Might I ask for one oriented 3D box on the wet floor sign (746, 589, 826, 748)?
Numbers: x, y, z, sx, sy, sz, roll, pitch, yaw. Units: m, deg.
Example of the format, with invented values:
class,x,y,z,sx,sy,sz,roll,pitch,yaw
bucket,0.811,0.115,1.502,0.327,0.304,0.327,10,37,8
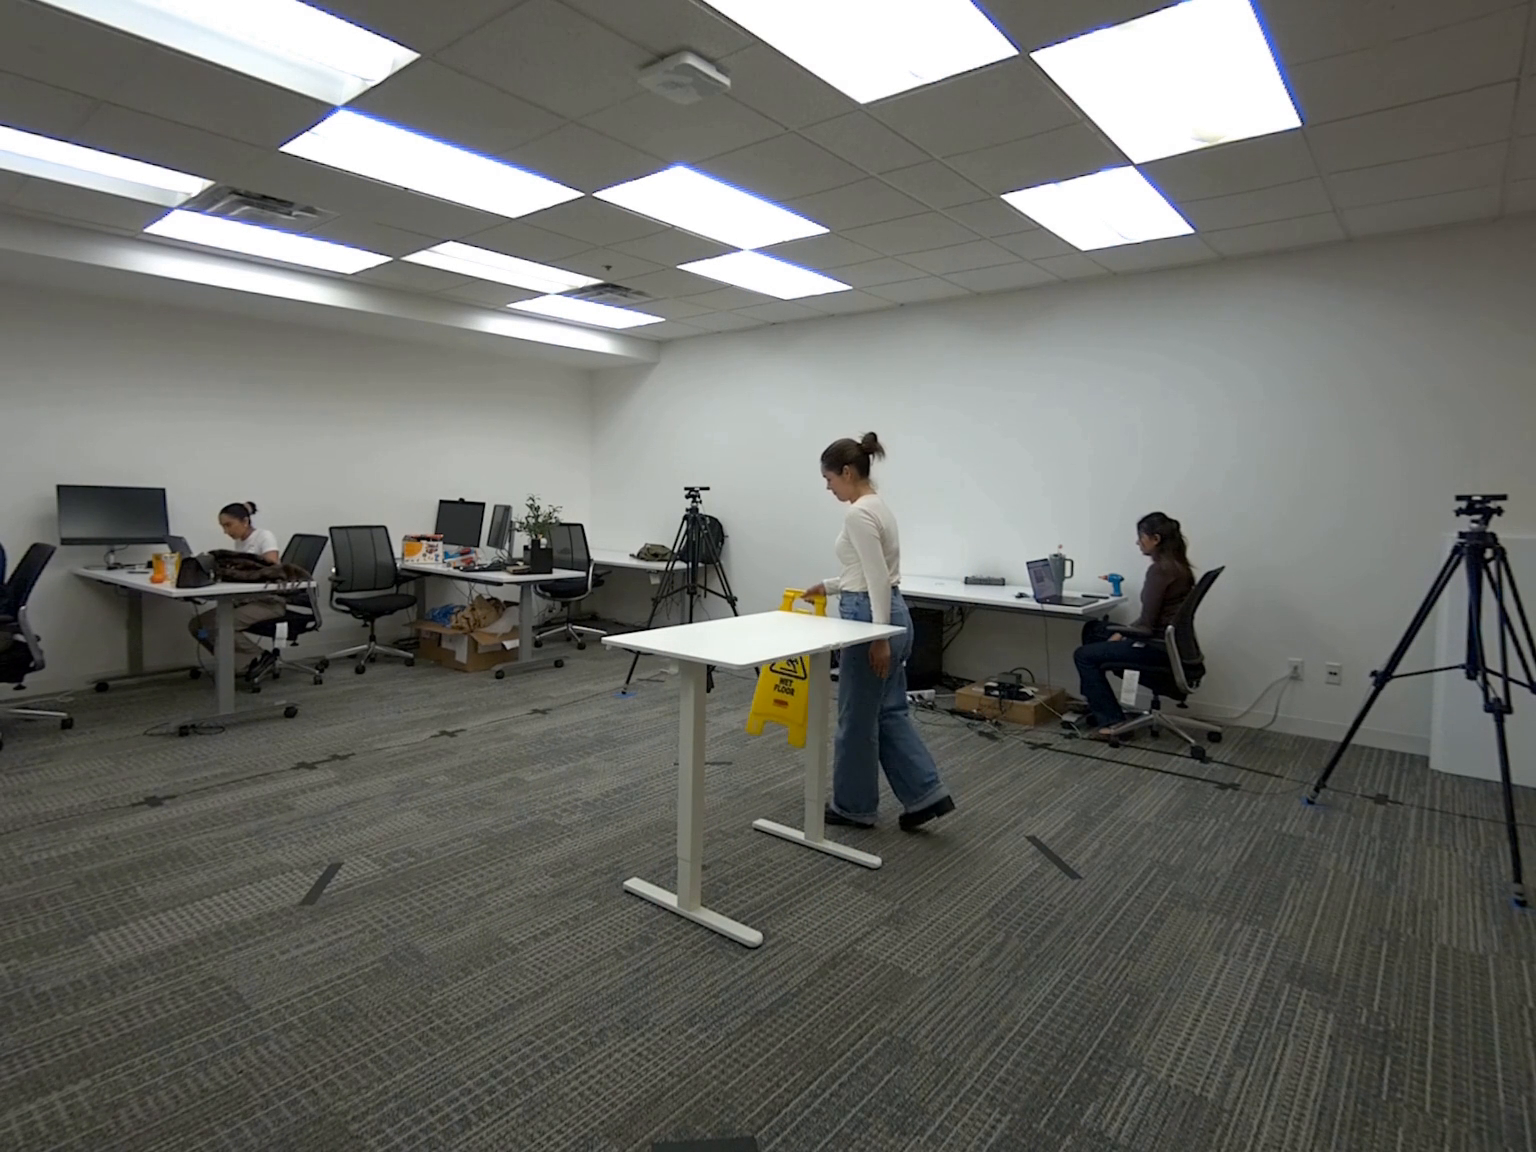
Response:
class,x,y,z,sx,sy,sz,roll,pitch,yaw
wet floor sign,0.109,0.388,3.816,0.290,0.644,0.283,12,4,22
